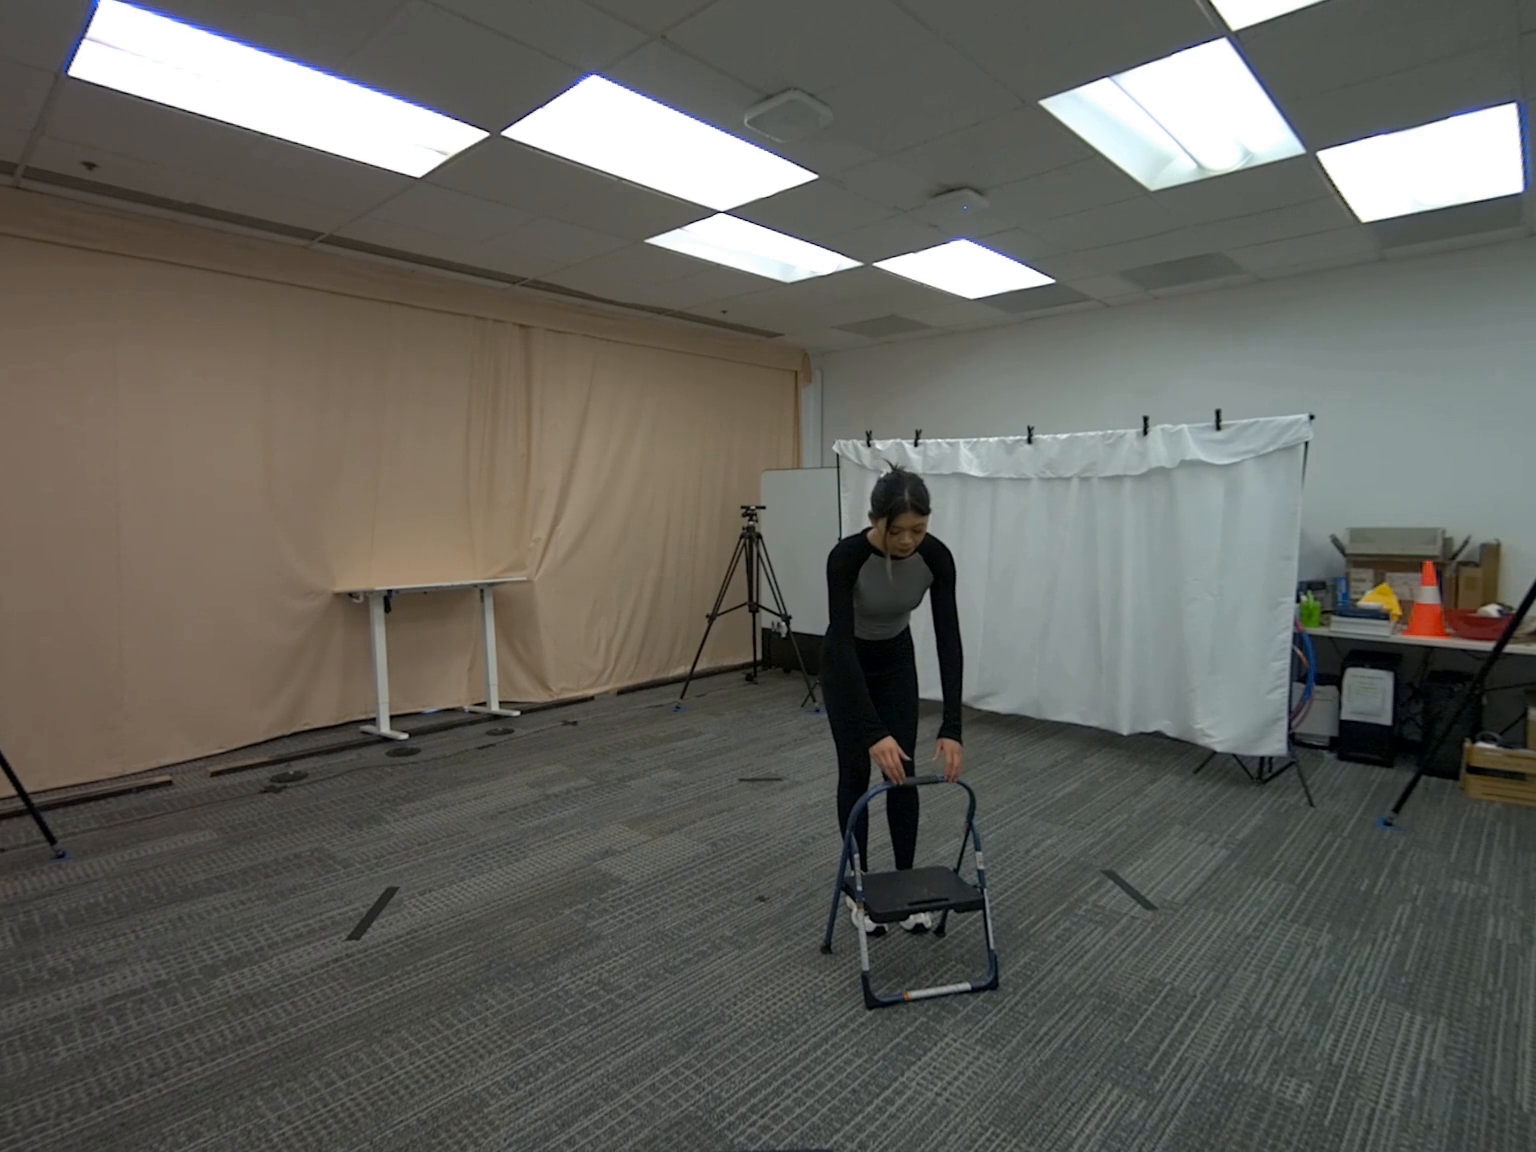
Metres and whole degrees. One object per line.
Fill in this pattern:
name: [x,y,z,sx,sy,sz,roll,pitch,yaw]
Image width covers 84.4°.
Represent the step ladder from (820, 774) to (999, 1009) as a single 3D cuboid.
step ladder: [0.421,0.879,2.517,0.423,0.604,0.356,-1,4,-16]
